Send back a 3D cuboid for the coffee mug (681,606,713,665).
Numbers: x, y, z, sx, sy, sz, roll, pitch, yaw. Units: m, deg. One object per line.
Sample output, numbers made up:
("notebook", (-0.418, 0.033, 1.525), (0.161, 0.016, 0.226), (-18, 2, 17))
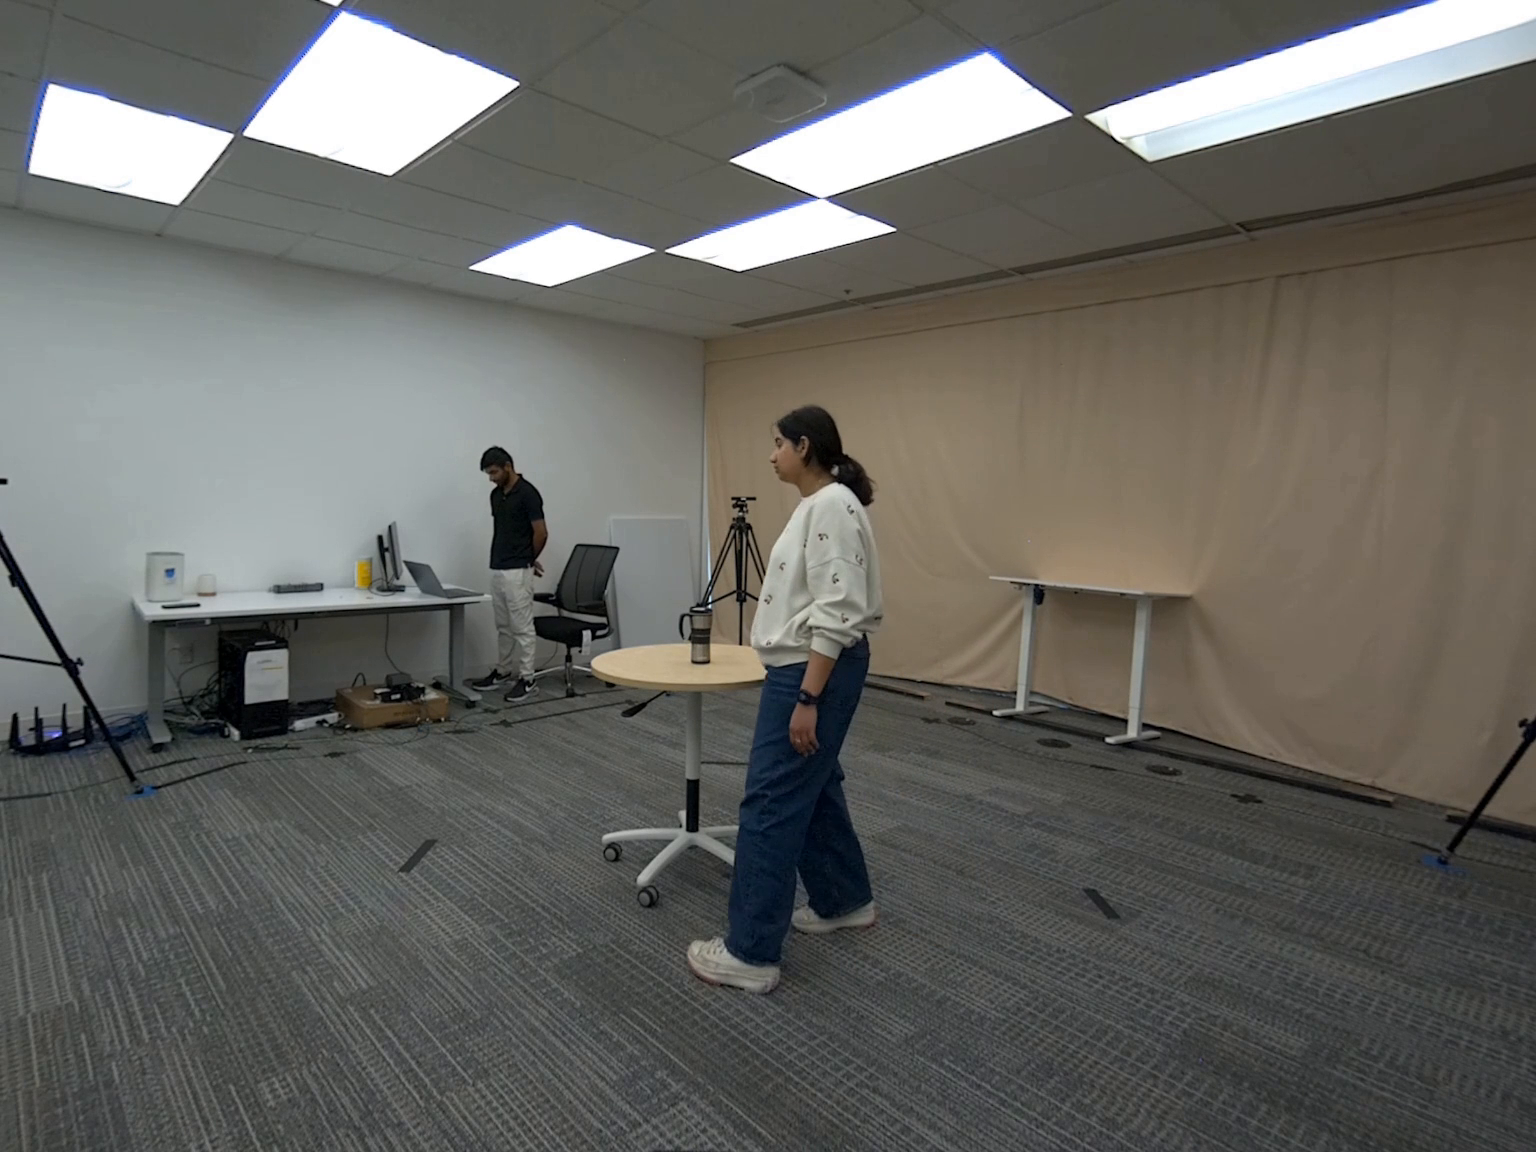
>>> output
("coffee mug", (-0.269, 0.221, 3.118), (0.125, 0.202, 0.086), (7, 8, 37))
